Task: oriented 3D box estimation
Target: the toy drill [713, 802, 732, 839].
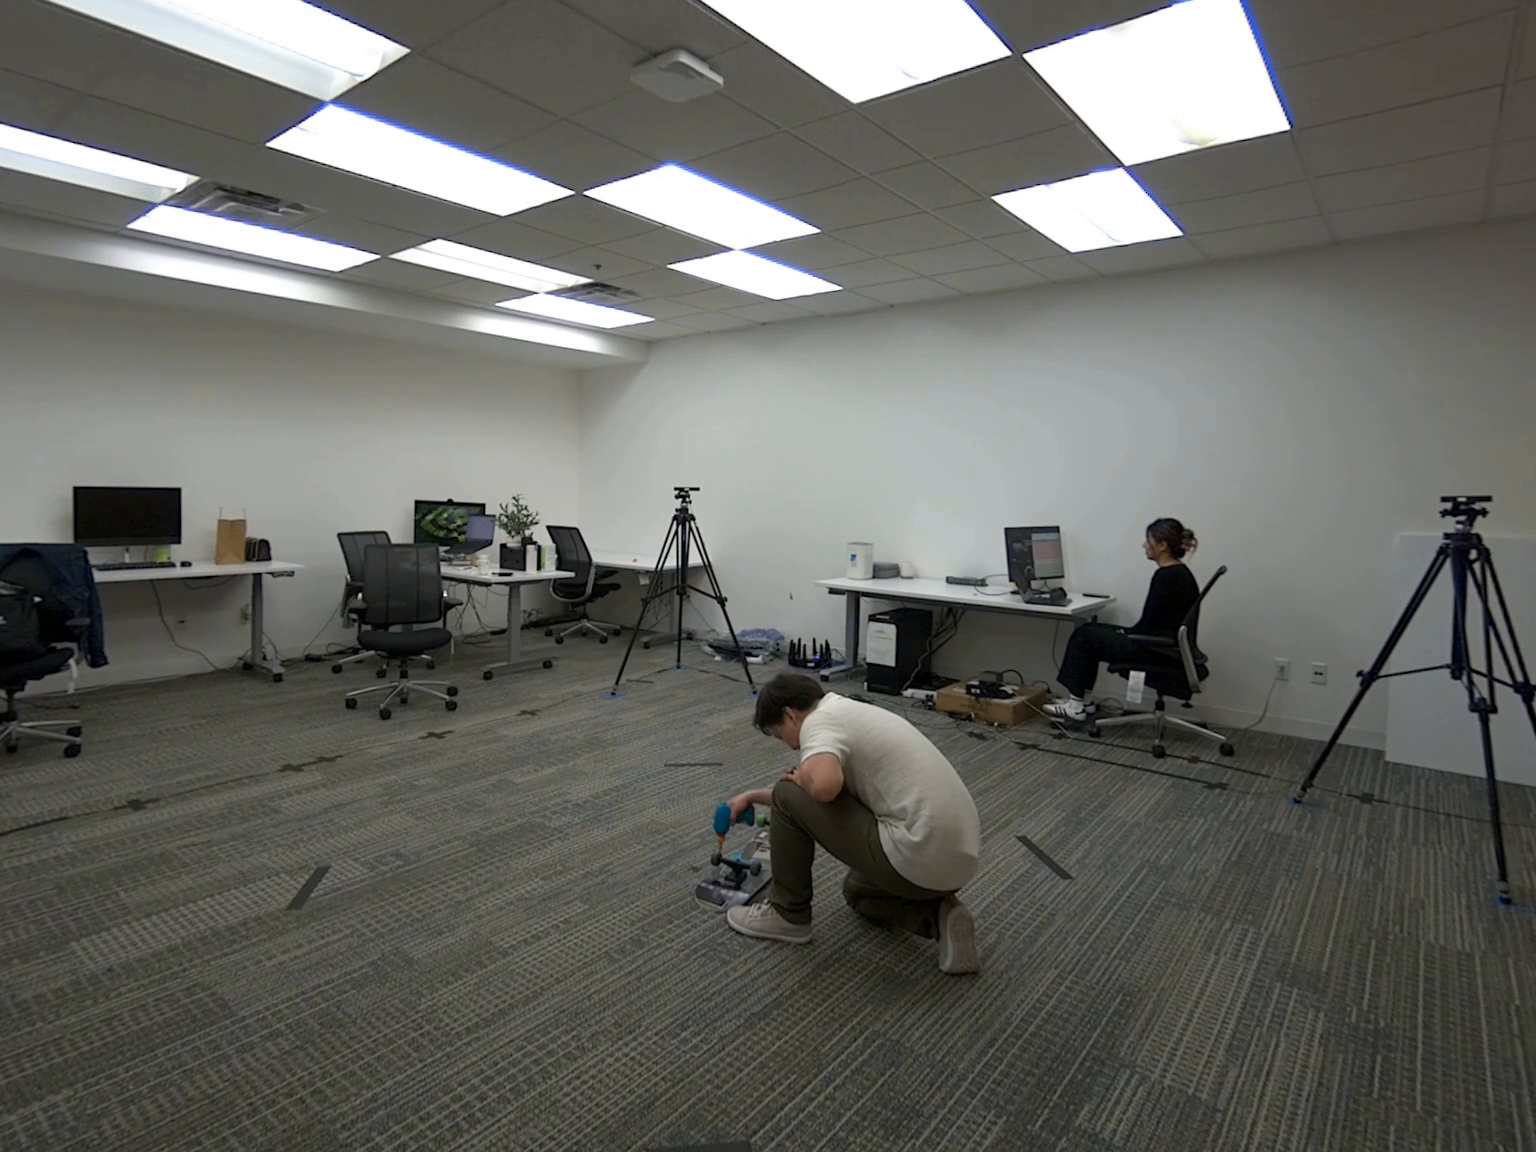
[{"bbox_3d":[-0.121,0.904,2.961,0.144,0.170,0.061,-13,-2,-13],"label":"toy drill"}]
